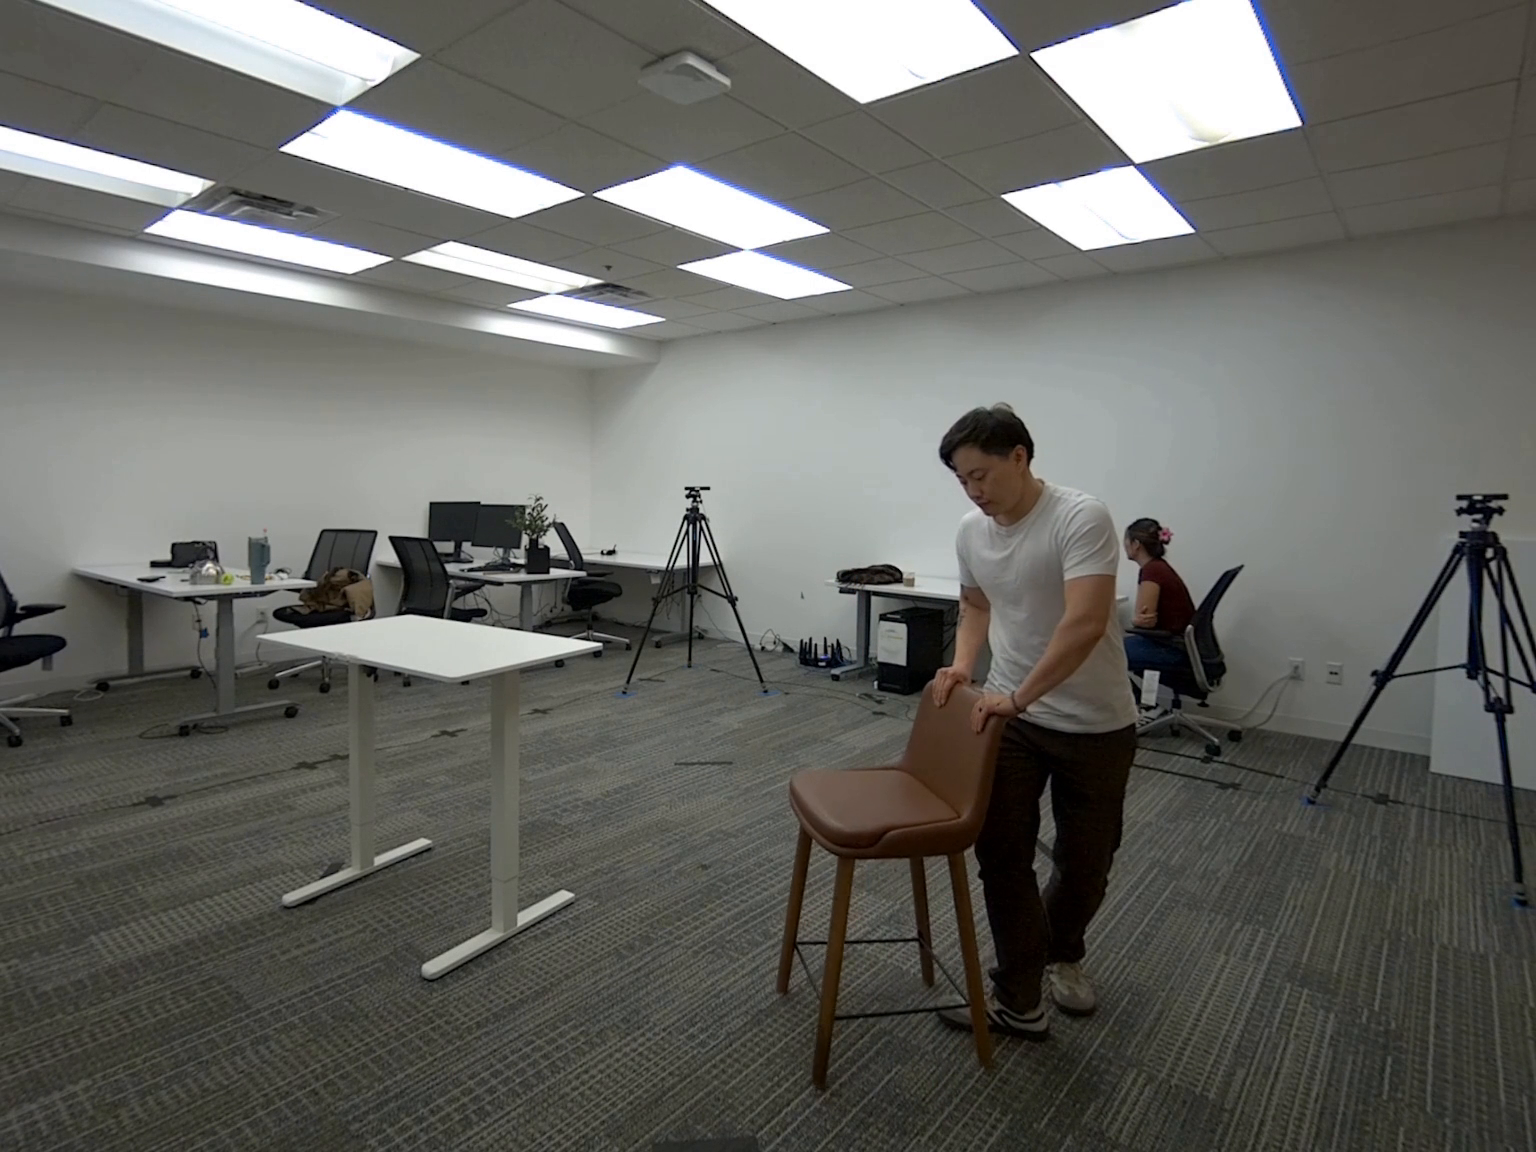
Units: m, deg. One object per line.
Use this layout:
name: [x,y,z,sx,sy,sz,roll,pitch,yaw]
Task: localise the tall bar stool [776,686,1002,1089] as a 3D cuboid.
tall bar stool: [0.300,0.737,2.178,0.463,0.887,0.463,3,4,-10]
